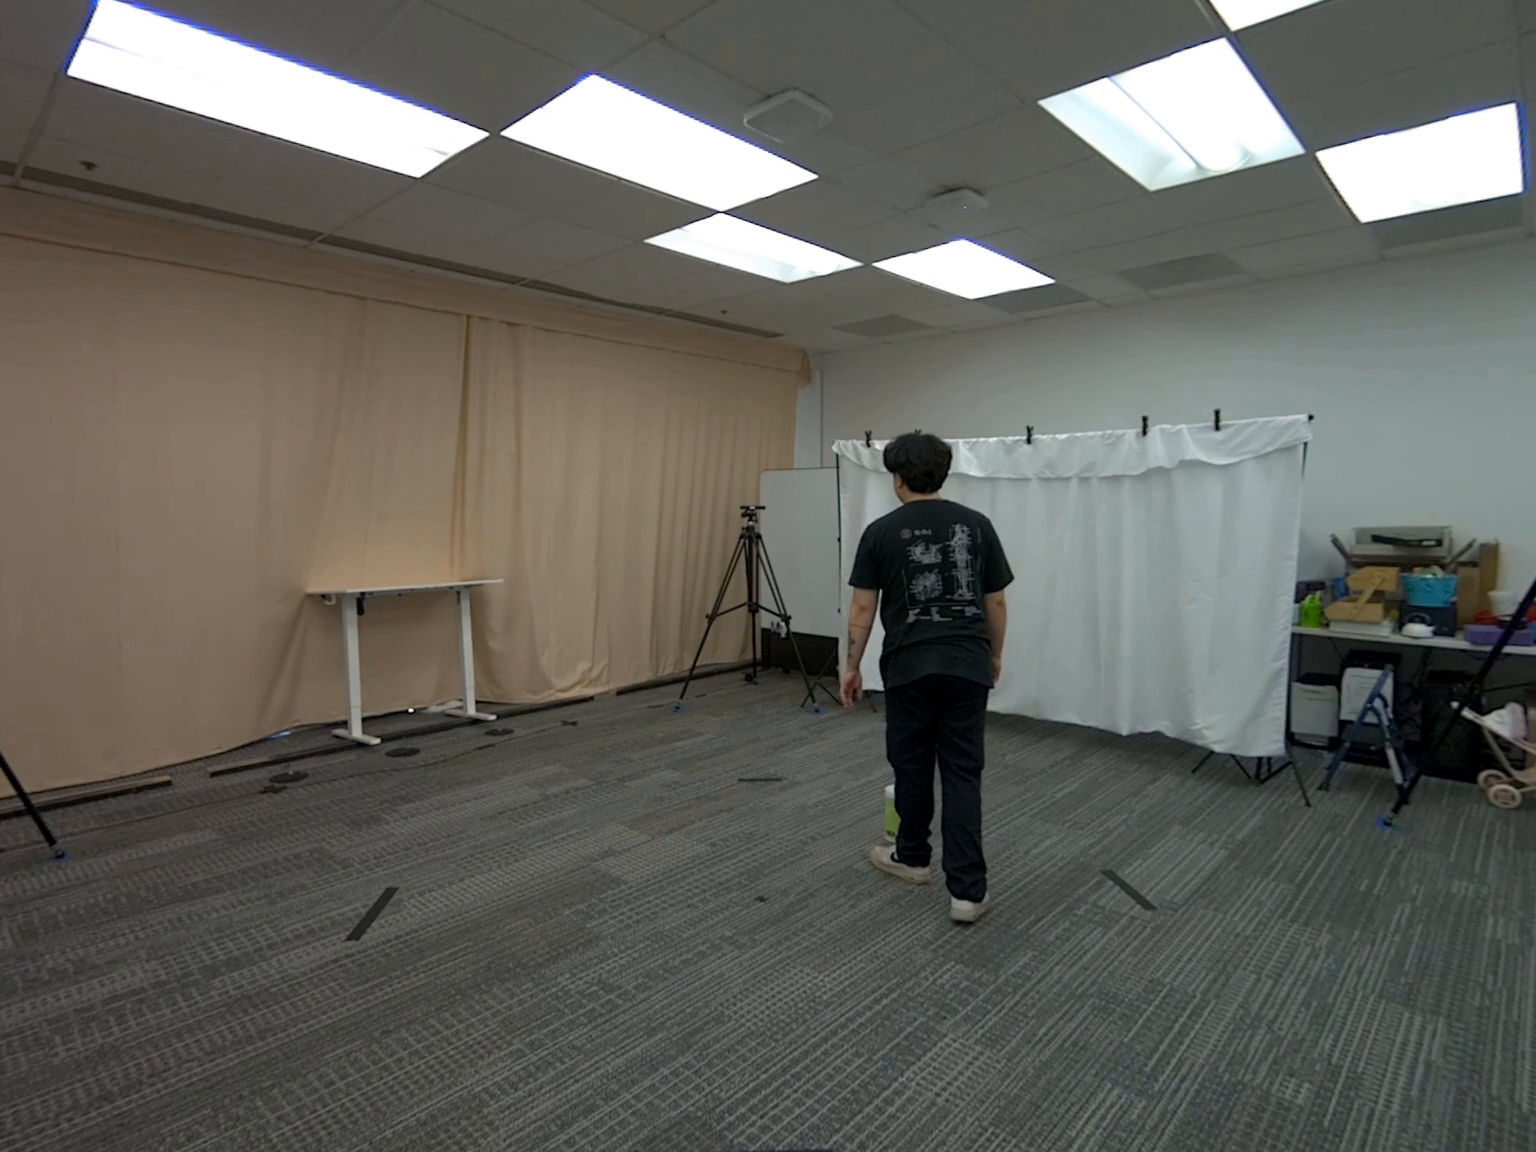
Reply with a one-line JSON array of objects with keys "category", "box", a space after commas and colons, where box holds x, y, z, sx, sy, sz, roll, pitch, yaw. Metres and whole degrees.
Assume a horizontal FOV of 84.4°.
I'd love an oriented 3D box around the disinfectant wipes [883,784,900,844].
[{"category": "disinfectant wipes", "box": [0.548, 0.998, 3.516, 0.117, 0.217, 0.118, 2, 3, -2]}]
